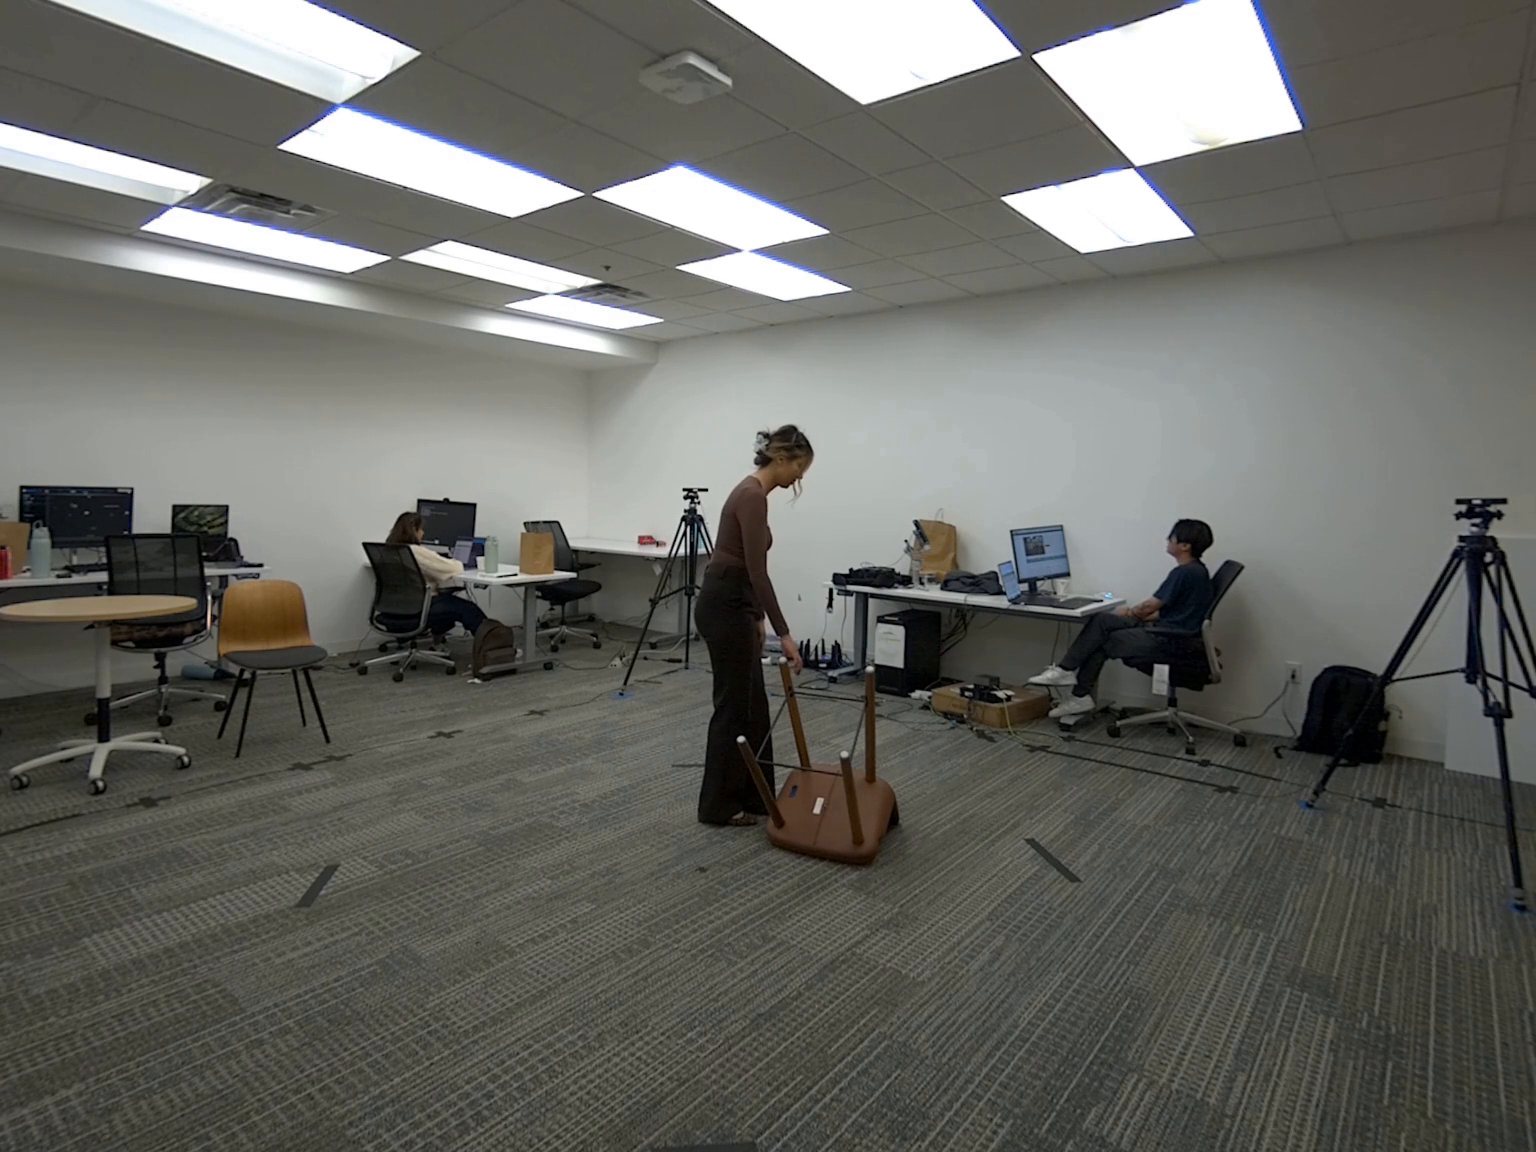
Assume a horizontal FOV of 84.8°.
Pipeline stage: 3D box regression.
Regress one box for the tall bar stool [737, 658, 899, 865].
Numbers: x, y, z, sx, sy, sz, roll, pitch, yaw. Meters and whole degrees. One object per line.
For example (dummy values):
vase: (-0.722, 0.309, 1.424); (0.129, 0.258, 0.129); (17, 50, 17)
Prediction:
tall bar stool: (0.224, 0.810, 3.313); (0.468, 0.860, 0.472); (3, 38, 23)
